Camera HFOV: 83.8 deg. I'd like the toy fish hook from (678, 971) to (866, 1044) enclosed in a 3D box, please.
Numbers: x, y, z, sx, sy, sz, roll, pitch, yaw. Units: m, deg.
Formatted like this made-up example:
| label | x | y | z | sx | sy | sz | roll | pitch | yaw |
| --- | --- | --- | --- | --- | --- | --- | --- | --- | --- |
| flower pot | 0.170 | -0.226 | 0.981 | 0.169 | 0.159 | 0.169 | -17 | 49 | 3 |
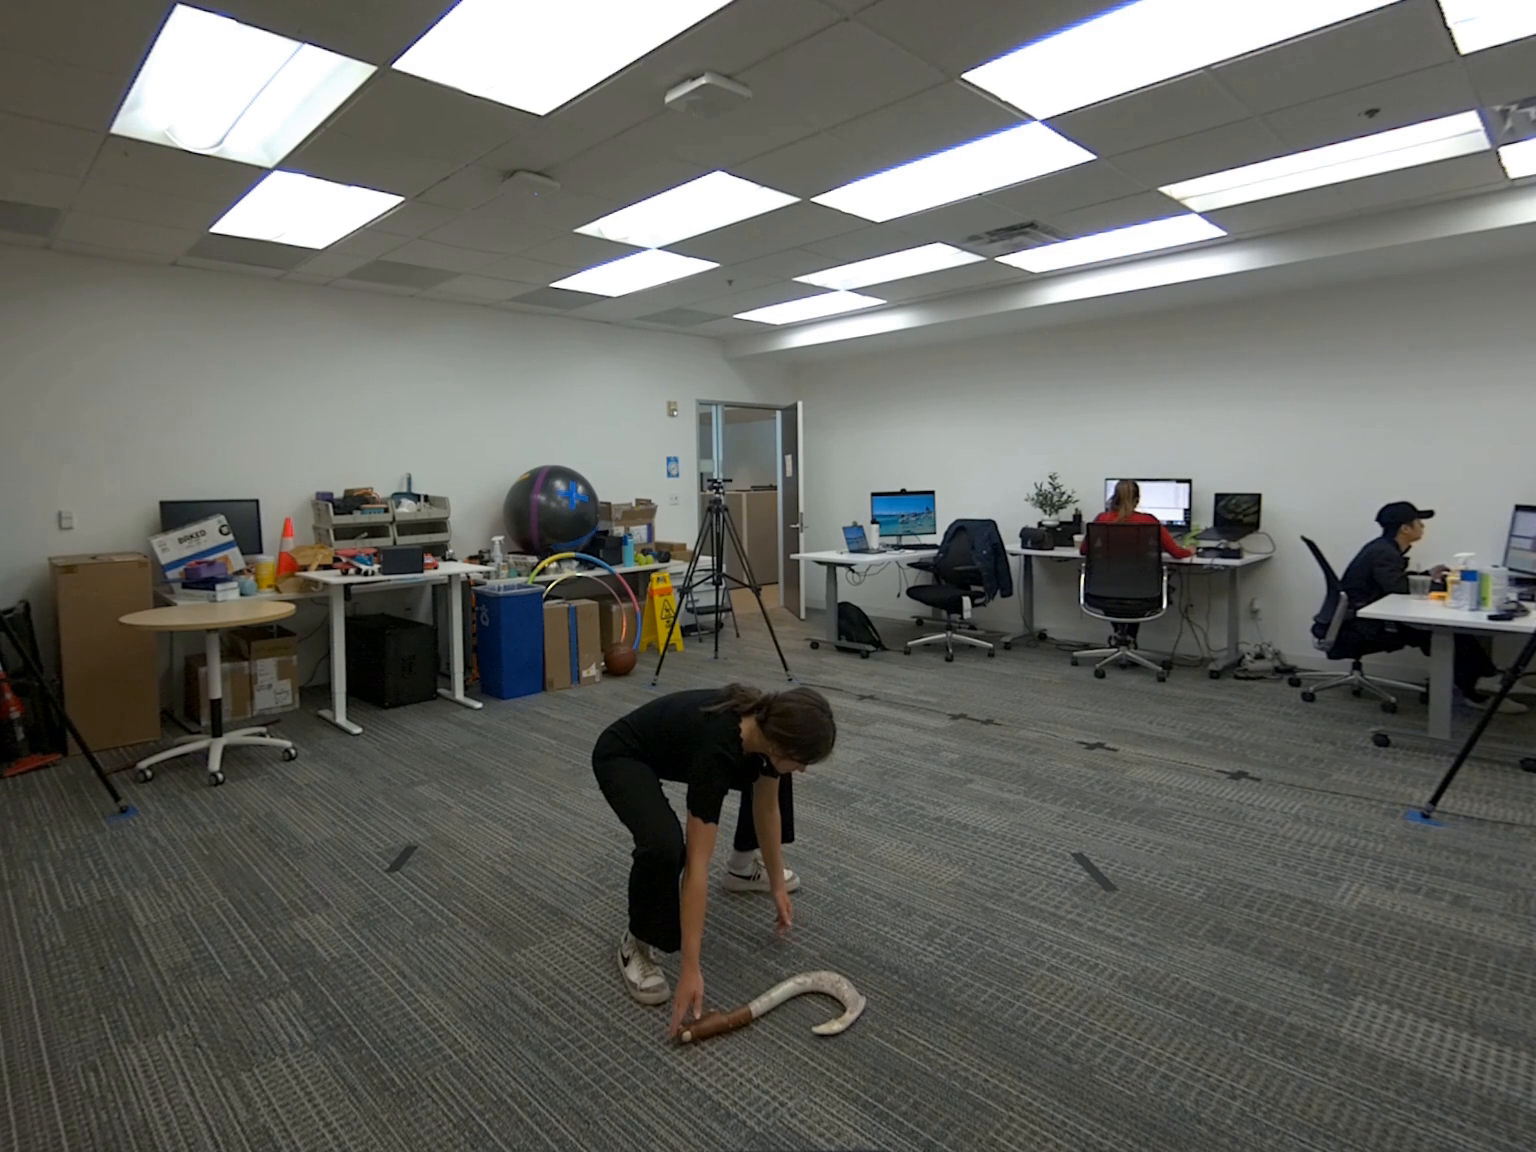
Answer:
| label | x | y | z | sx | sy | sz | roll | pitch | yaw |
| --- | --- | --- | --- | --- | --- | --- | --- | --- | --- |
| toy fish hook | 0.025 | 1.134 | 2.187 | 0.495 | 0.048 | 0.230 | -6 | 6 | -29 |
